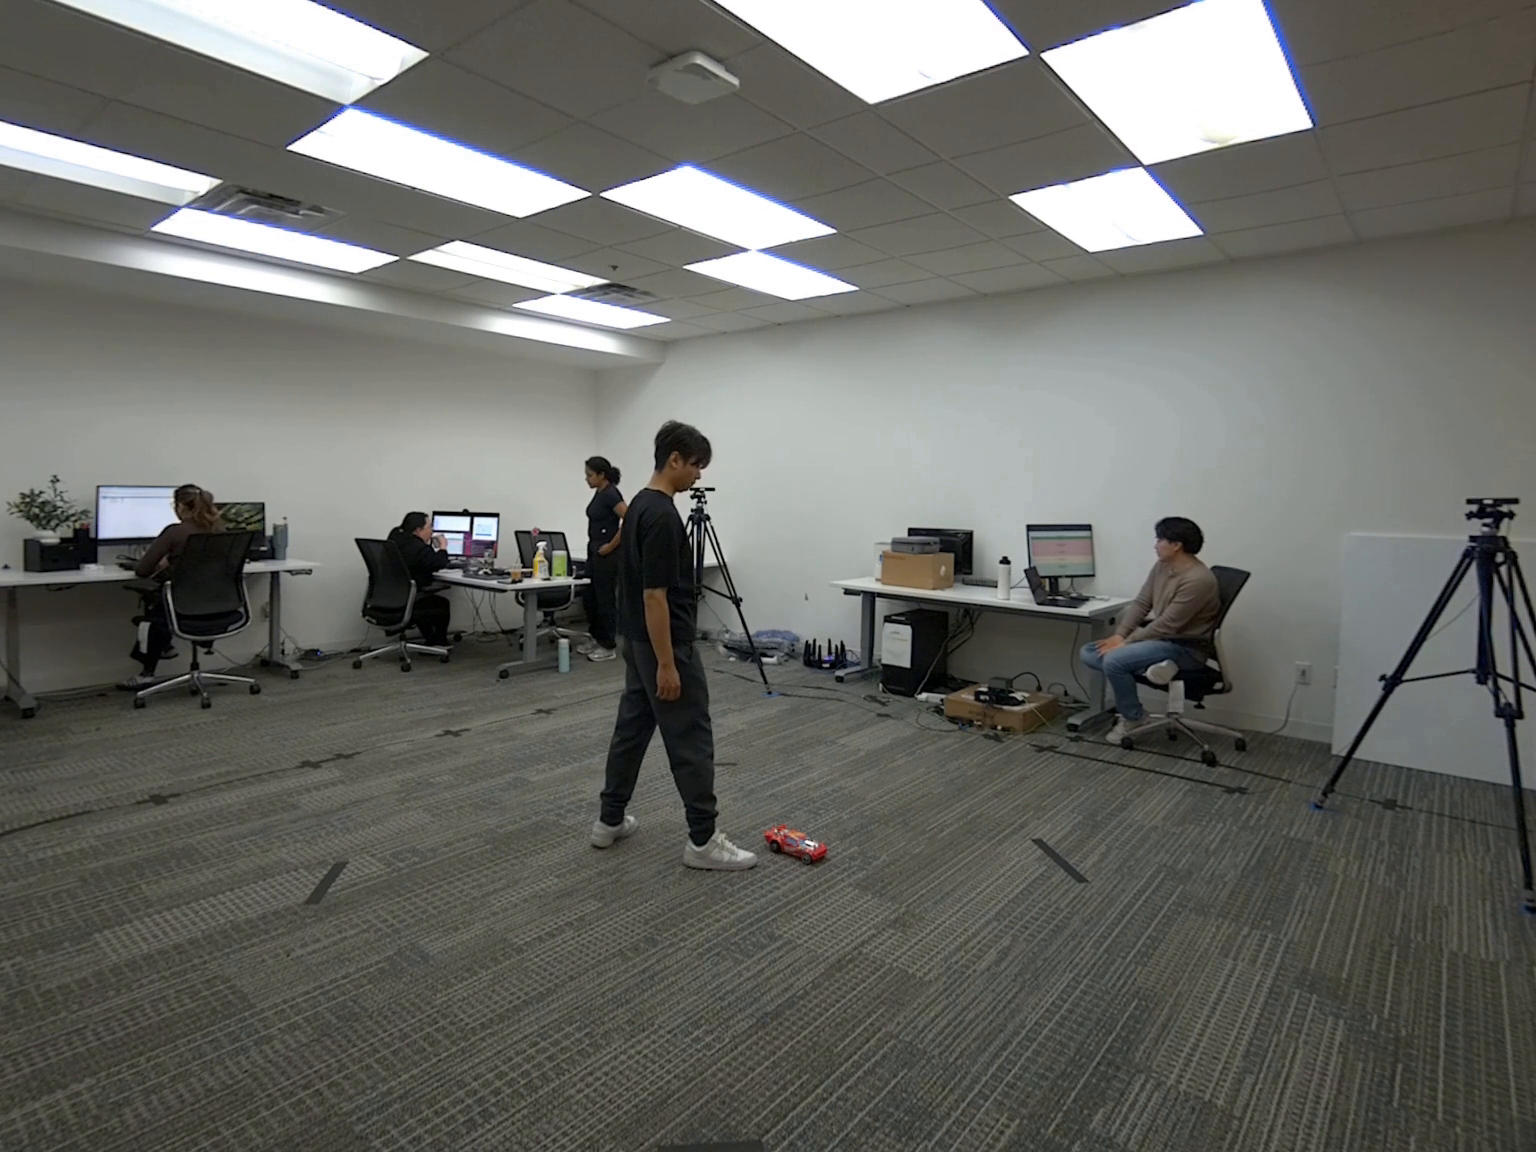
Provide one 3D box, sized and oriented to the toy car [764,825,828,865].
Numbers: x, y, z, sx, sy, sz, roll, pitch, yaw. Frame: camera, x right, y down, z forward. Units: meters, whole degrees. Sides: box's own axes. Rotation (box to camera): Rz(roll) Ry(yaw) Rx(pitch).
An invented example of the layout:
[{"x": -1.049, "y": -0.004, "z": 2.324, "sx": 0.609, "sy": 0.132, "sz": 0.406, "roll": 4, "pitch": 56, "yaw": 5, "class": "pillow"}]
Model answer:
[{"x": 0.089, "y": 1.023, "z": 3.271, "sx": 0.264, "sy": 0.082, "sz": 0.126, "roll": 21, "pitch": 16, "yaw": 37, "class": "toy car"}]
